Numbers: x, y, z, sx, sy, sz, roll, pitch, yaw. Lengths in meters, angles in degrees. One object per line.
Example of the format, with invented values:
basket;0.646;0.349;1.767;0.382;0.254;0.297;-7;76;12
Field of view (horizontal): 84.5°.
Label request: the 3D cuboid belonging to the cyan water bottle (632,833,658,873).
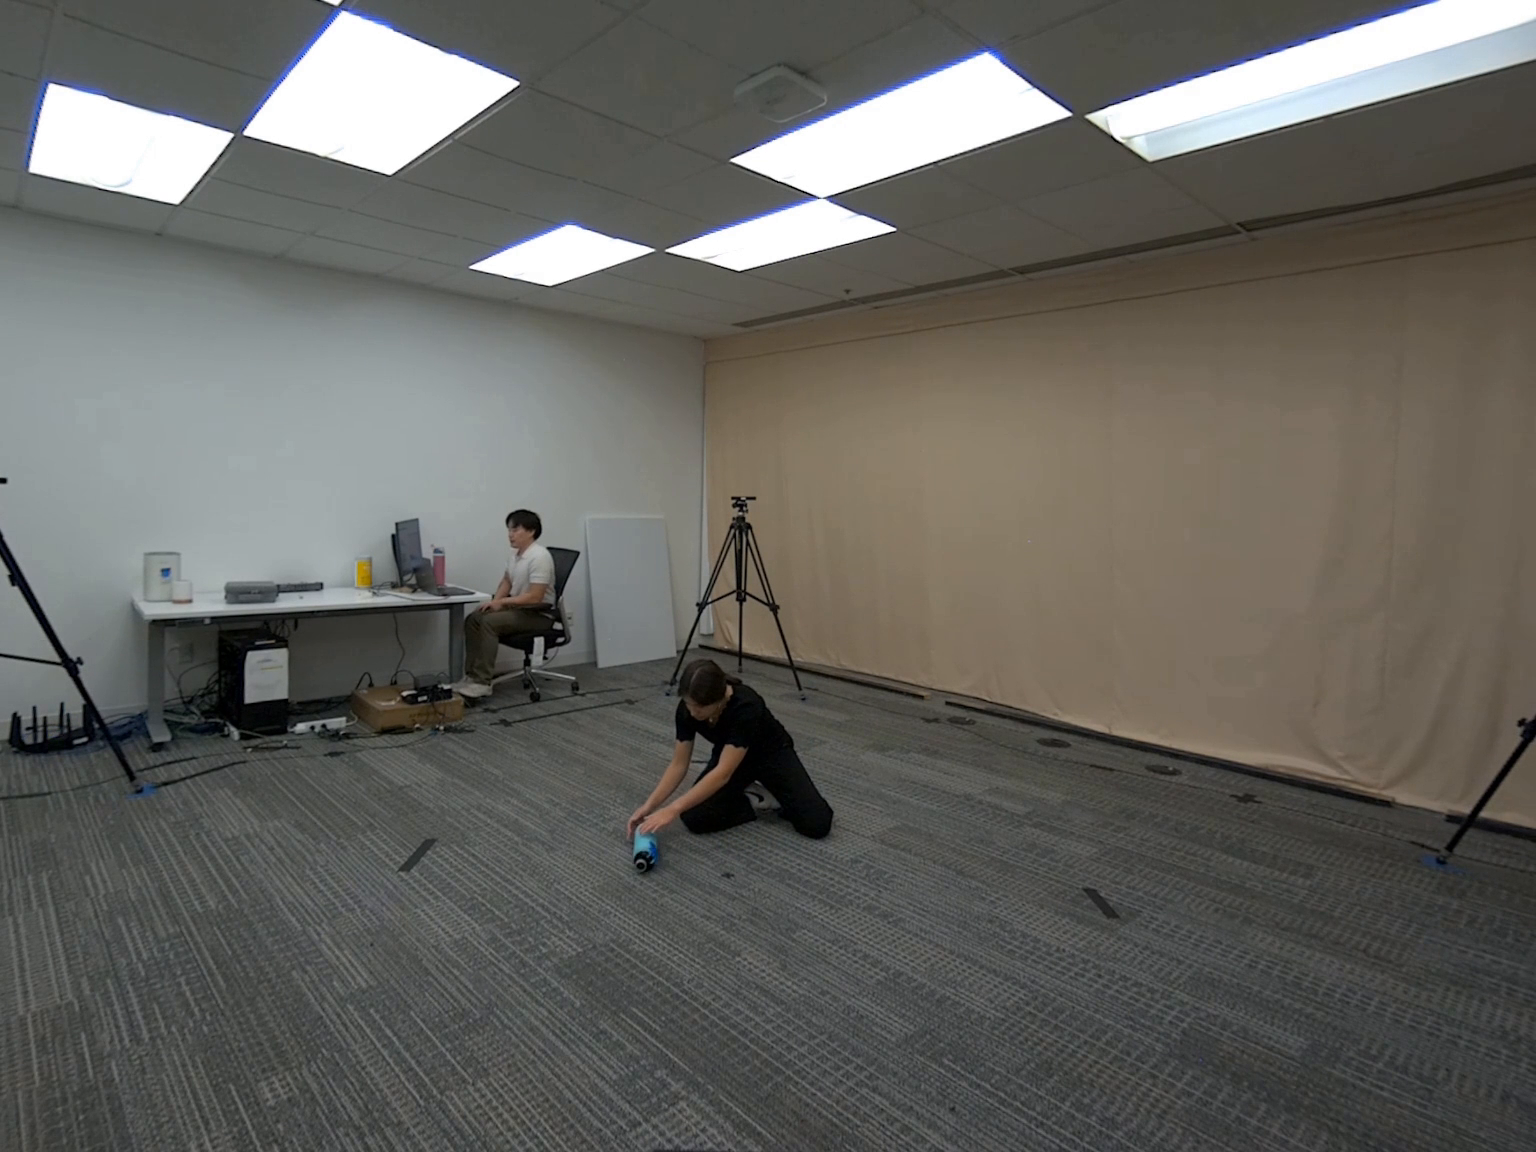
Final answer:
cyan water bottle;-0.485;1.041;3.226;0.092;0.092;0.286;1;6;-7
